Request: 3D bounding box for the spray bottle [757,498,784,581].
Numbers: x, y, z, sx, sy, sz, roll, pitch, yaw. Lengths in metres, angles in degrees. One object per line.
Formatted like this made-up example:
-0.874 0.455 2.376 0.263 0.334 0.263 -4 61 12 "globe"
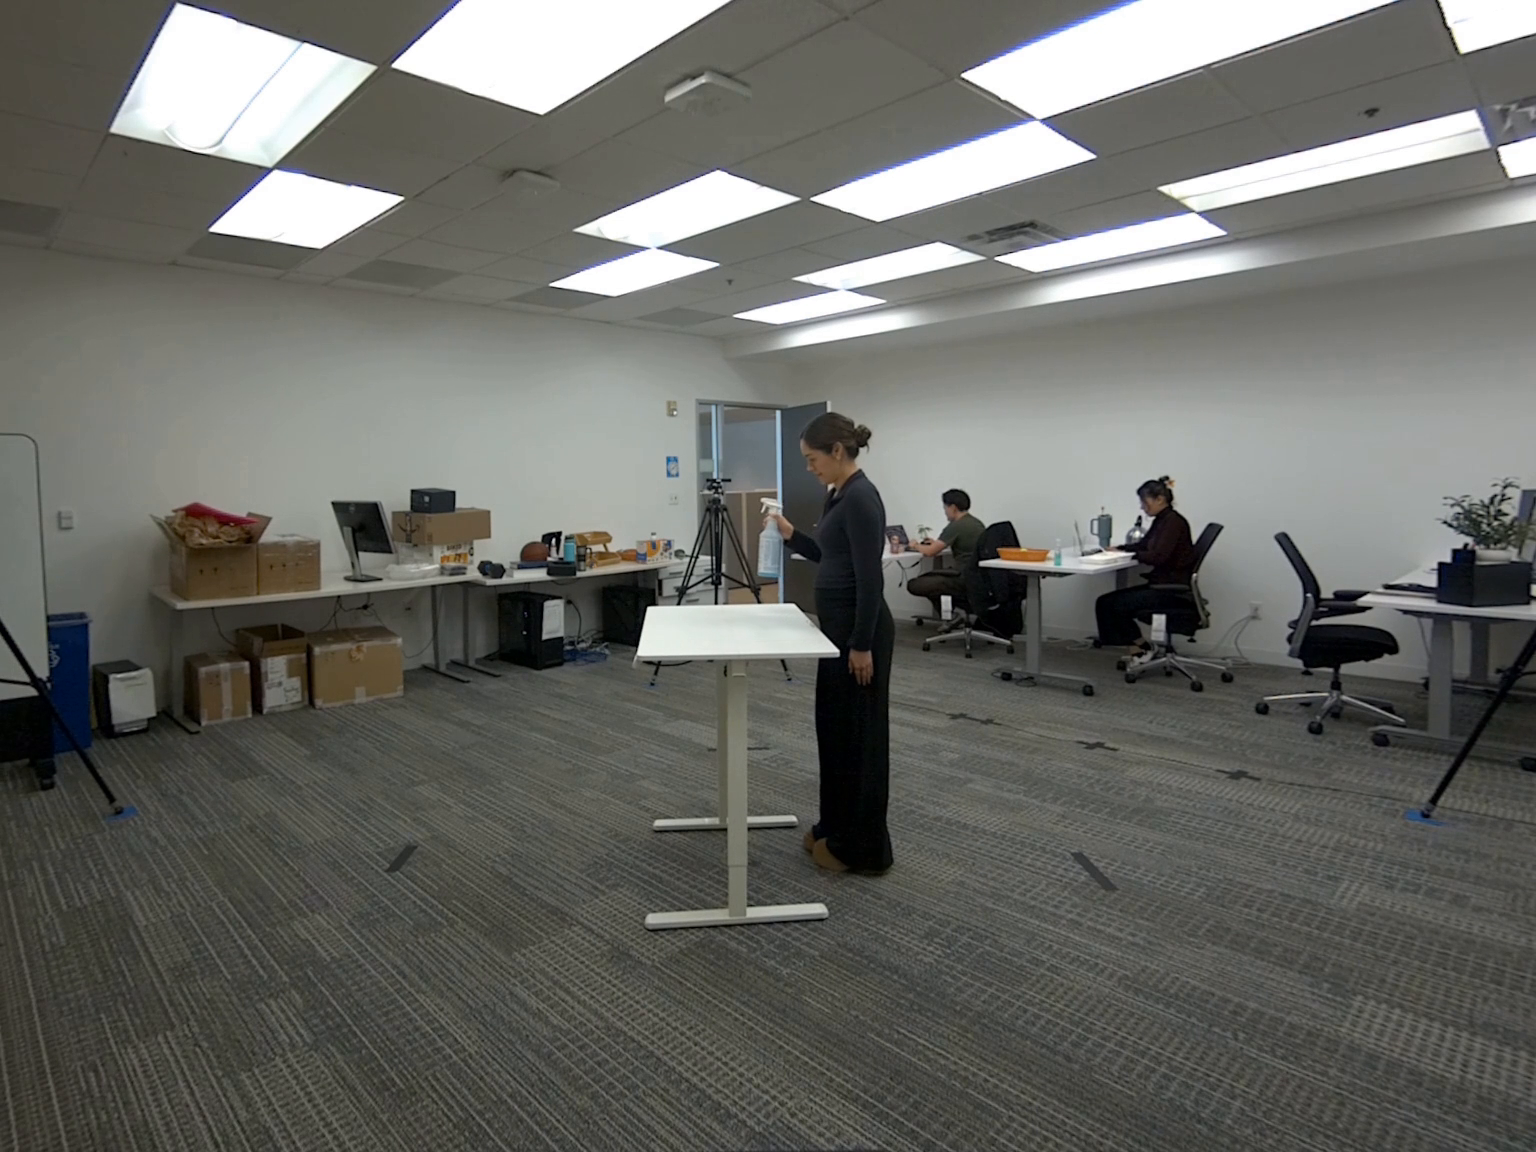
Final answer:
0.017 -0.145 3.271 0.090 0.297 0.087 2 0 0 "spray bottle"
